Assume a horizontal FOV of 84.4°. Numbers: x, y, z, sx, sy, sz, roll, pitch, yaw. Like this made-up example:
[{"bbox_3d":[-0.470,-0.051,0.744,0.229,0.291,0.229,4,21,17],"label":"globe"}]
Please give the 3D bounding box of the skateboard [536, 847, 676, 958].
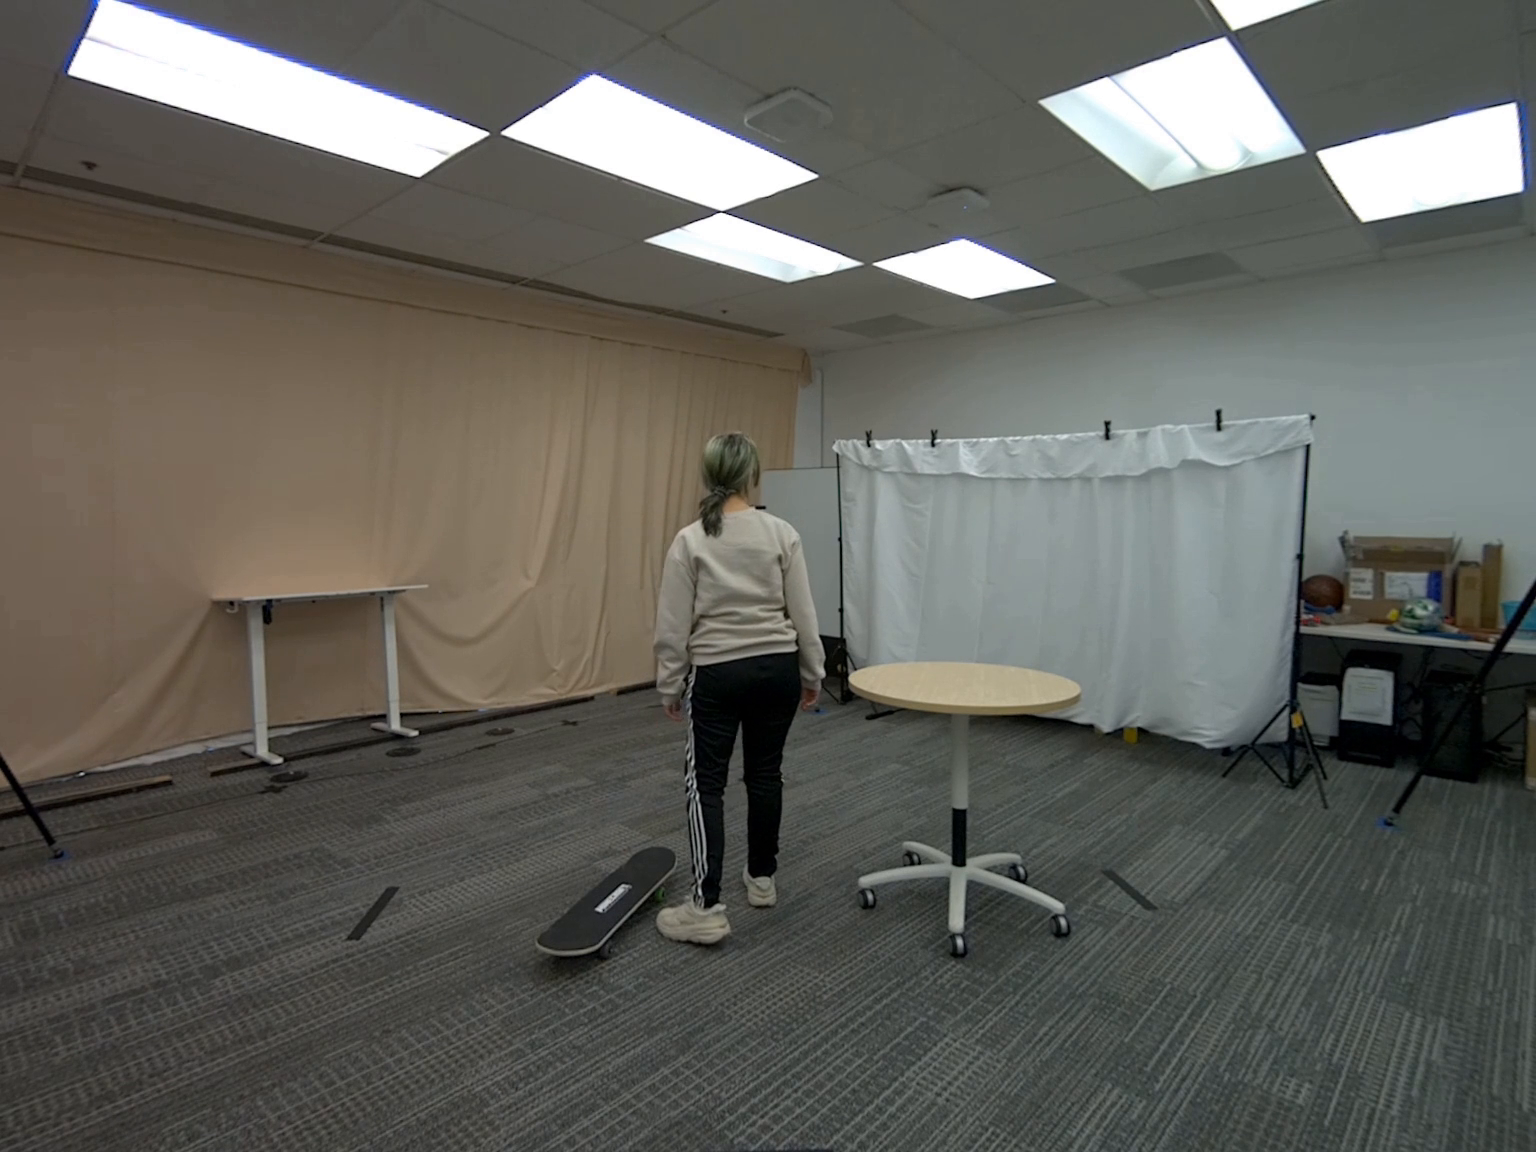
[{"bbox_3d":[-0.513,1.103,2.804,0.197,0.110,0.771,1,5,18],"label":"skateboard"}]
